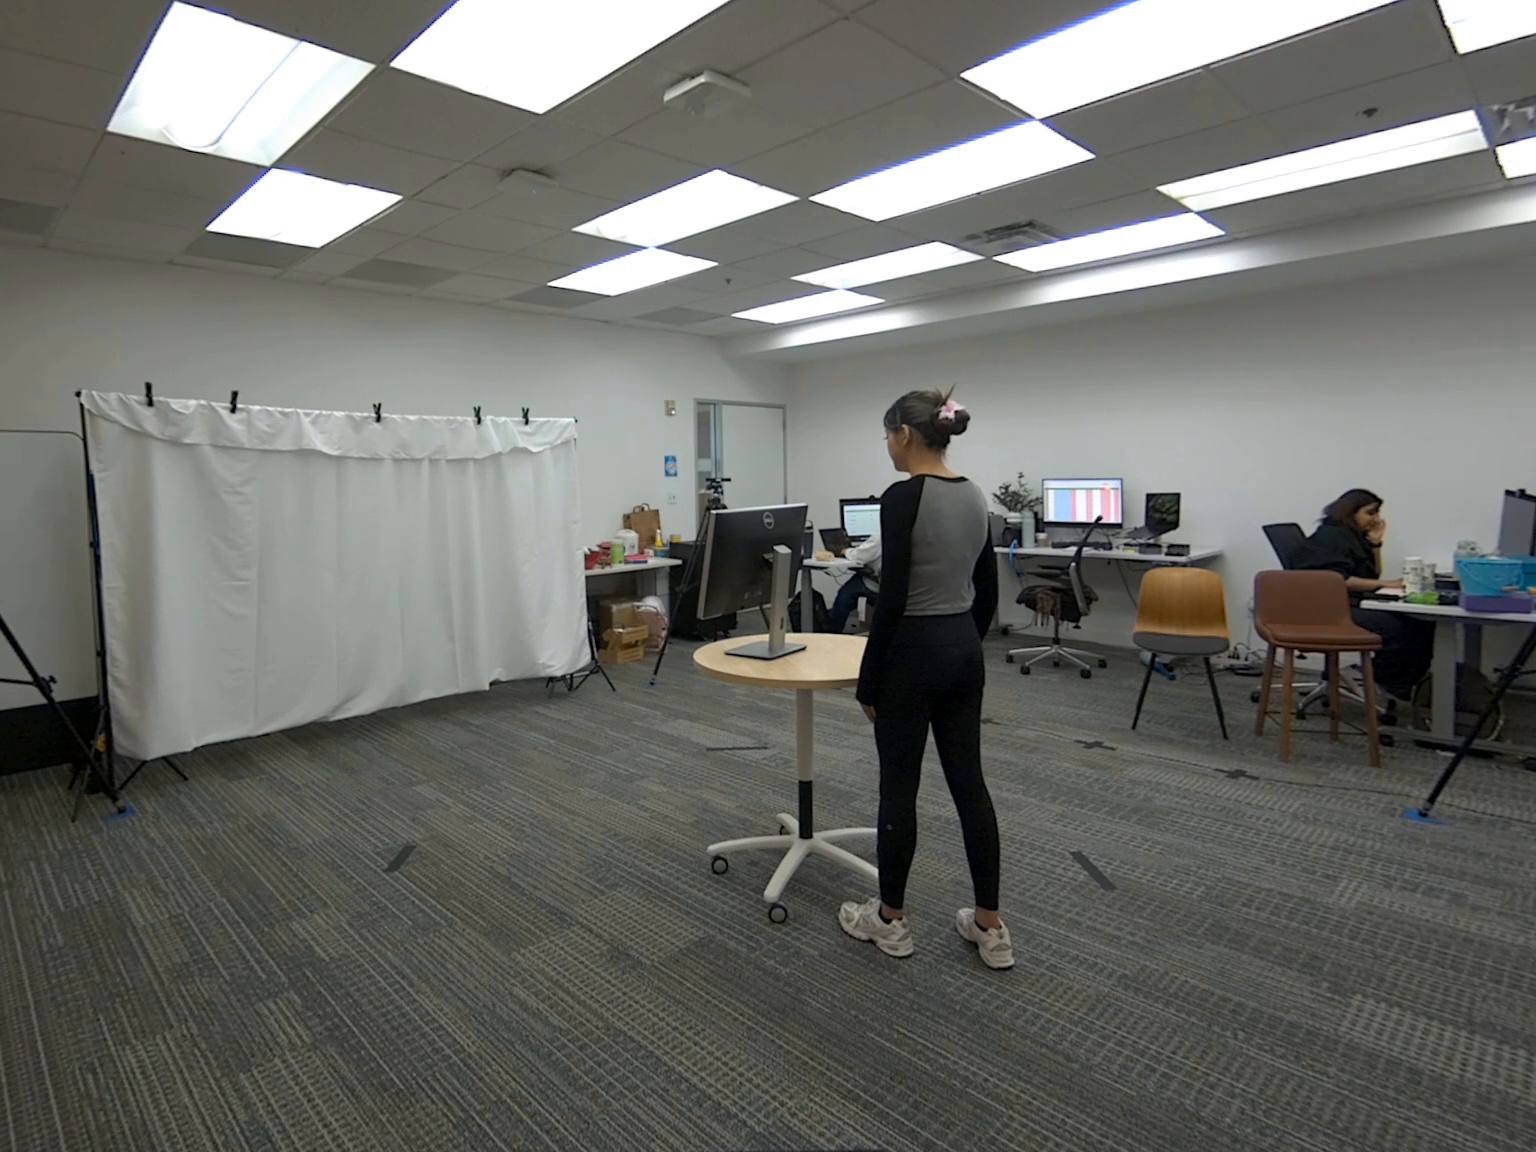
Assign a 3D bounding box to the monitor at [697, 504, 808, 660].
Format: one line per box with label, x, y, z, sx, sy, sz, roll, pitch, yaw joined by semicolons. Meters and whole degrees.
monitor;-0.014;0.020;2.983;0.179;0.516;0.518;-8;2;37
